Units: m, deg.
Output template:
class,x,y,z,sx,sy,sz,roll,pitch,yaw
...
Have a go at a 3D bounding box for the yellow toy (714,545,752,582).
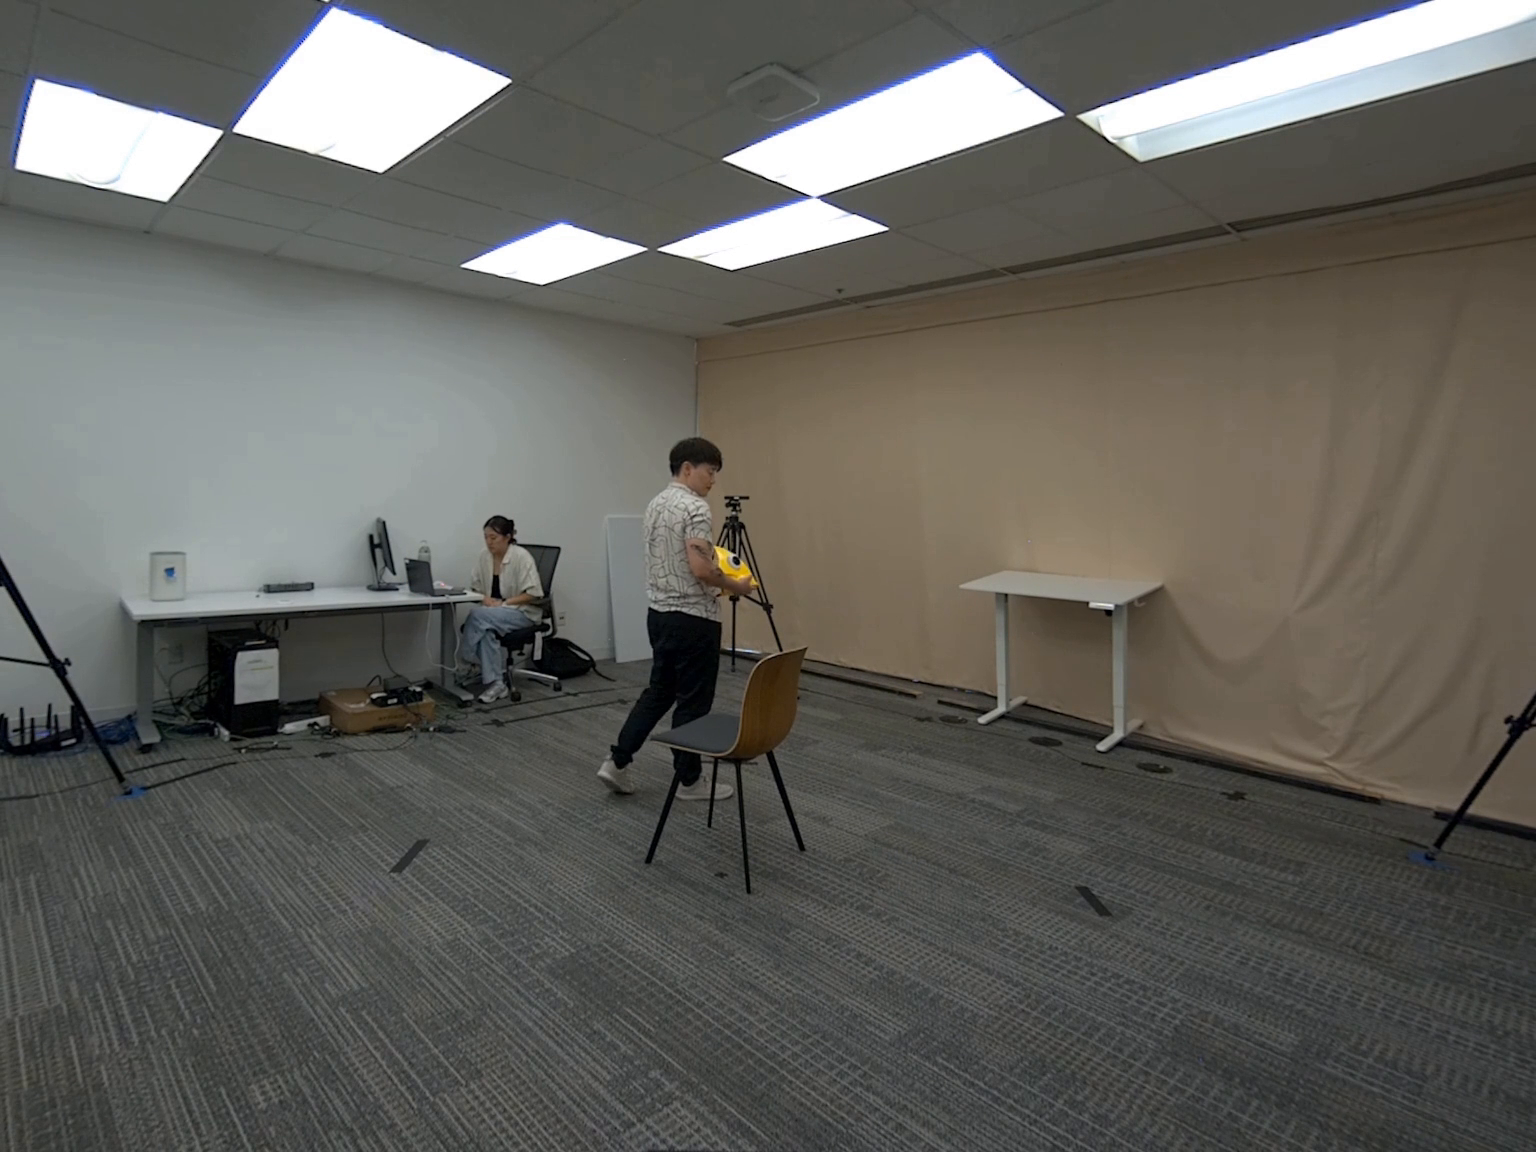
class,x,y,z,sx,sy,sz,roll,pitch,yaw
yellow toy,-0.186,-0.039,3.946,0.191,0.233,0.204,-10,-11,-14
